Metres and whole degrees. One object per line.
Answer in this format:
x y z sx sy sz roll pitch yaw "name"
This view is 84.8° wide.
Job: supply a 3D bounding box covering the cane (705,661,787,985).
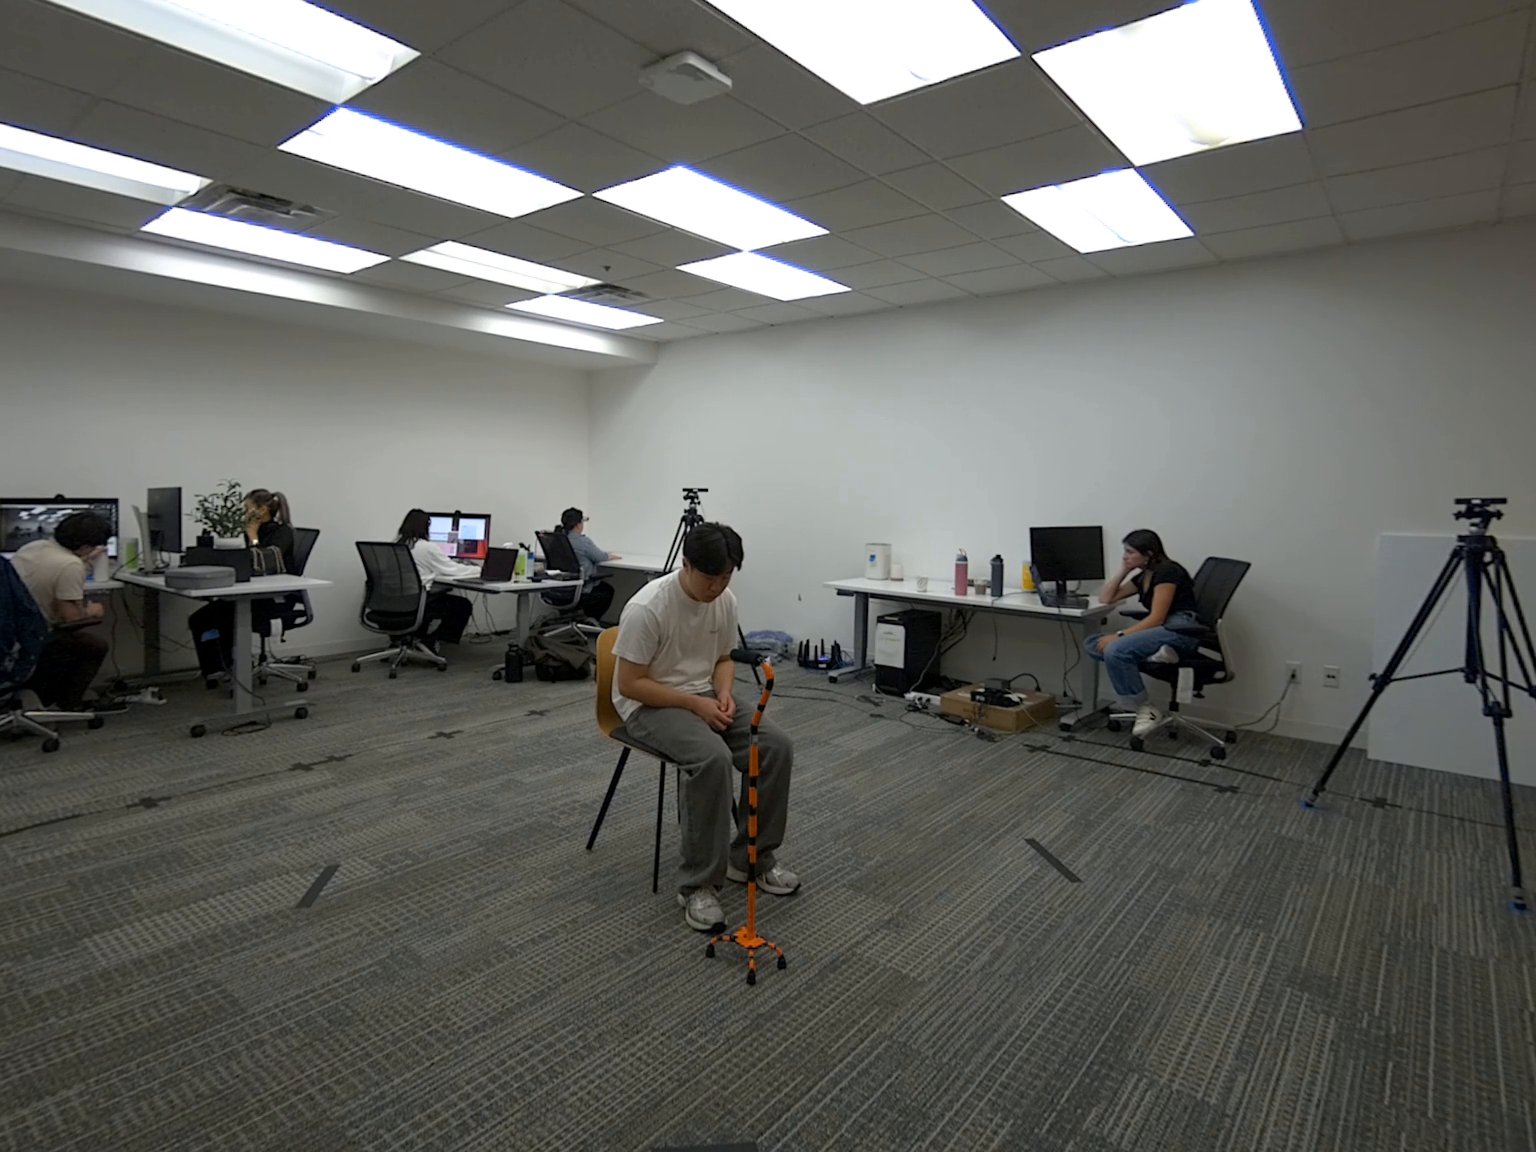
-0.058 0.675 2.481 0.147 0.905 0.213 -1 4 -43 "cane"
